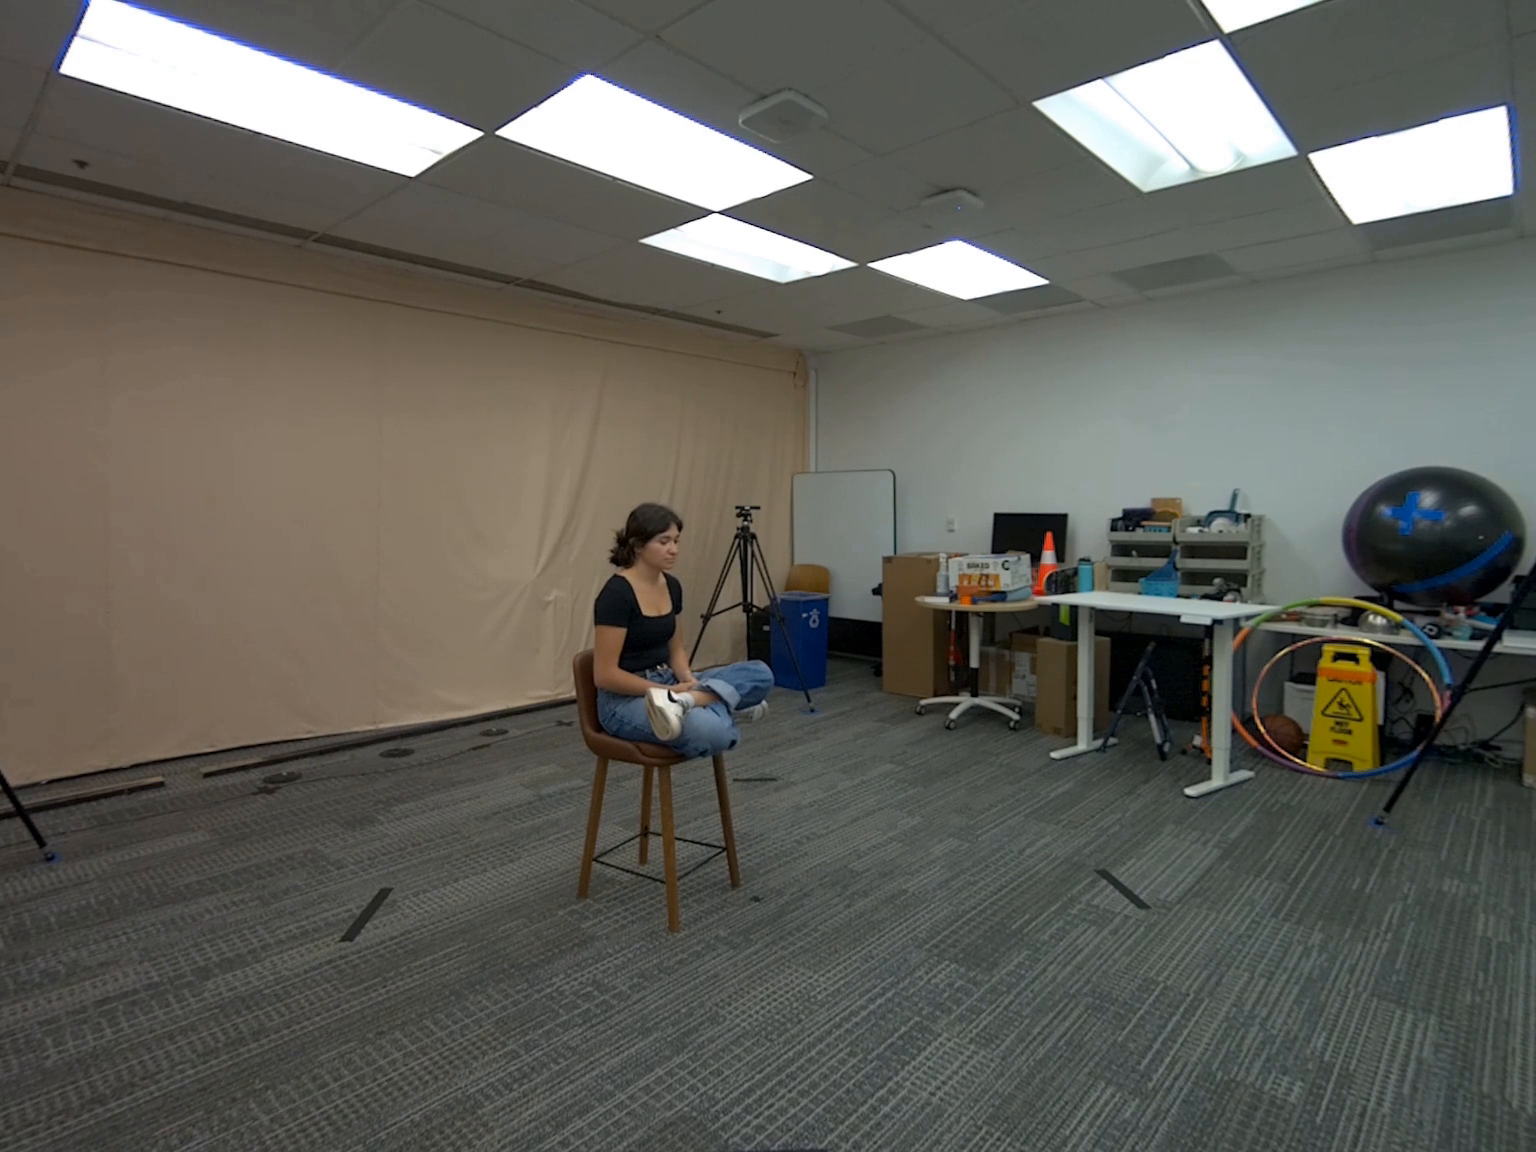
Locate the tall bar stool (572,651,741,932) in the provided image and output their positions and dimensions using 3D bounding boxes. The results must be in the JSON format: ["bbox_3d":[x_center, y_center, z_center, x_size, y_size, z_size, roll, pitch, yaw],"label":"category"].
[{"bbox_3d":[-0.405,0.709,3.025,0.481,0.889,0.444,-1,2,33],"label":"tall bar stool"}]
